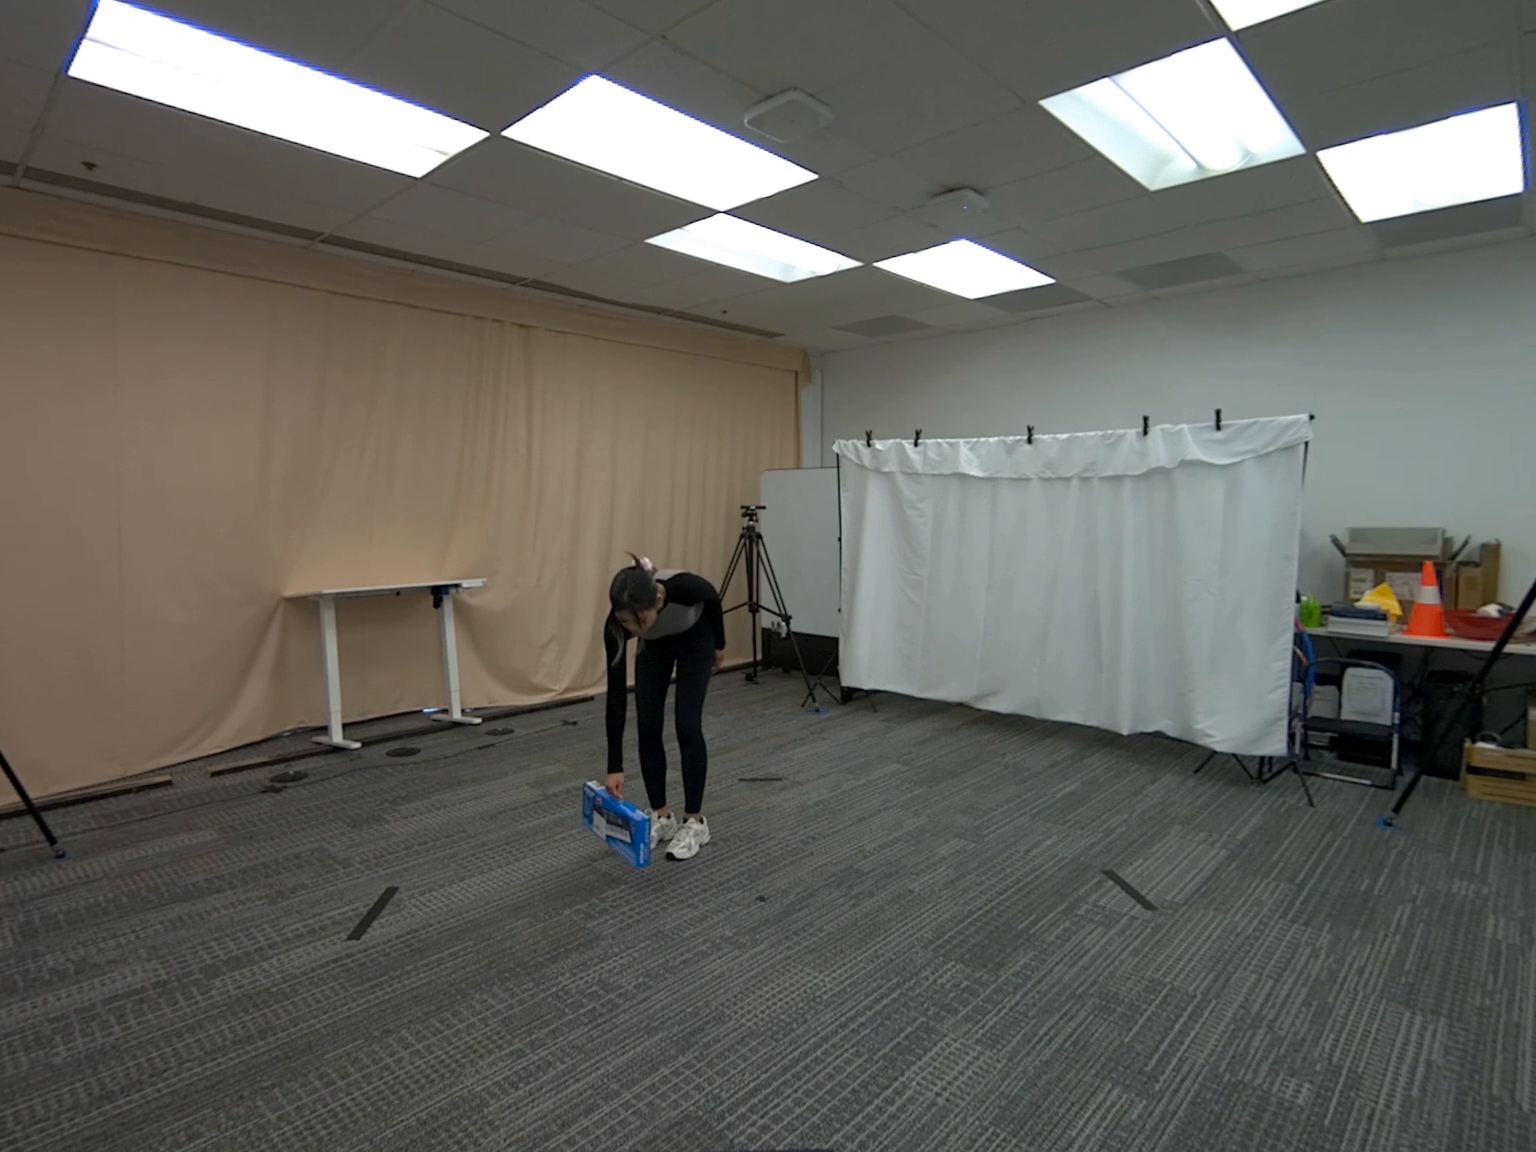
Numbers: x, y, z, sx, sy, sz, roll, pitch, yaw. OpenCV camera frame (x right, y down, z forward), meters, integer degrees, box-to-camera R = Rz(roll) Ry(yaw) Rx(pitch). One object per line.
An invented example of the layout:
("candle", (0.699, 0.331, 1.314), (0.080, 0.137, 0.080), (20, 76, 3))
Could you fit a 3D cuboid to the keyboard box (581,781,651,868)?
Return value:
("keyboard box", (-0.576, 0.921, 3.175), (0.057, 0.175, 0.451), (-2, 7, -37))
